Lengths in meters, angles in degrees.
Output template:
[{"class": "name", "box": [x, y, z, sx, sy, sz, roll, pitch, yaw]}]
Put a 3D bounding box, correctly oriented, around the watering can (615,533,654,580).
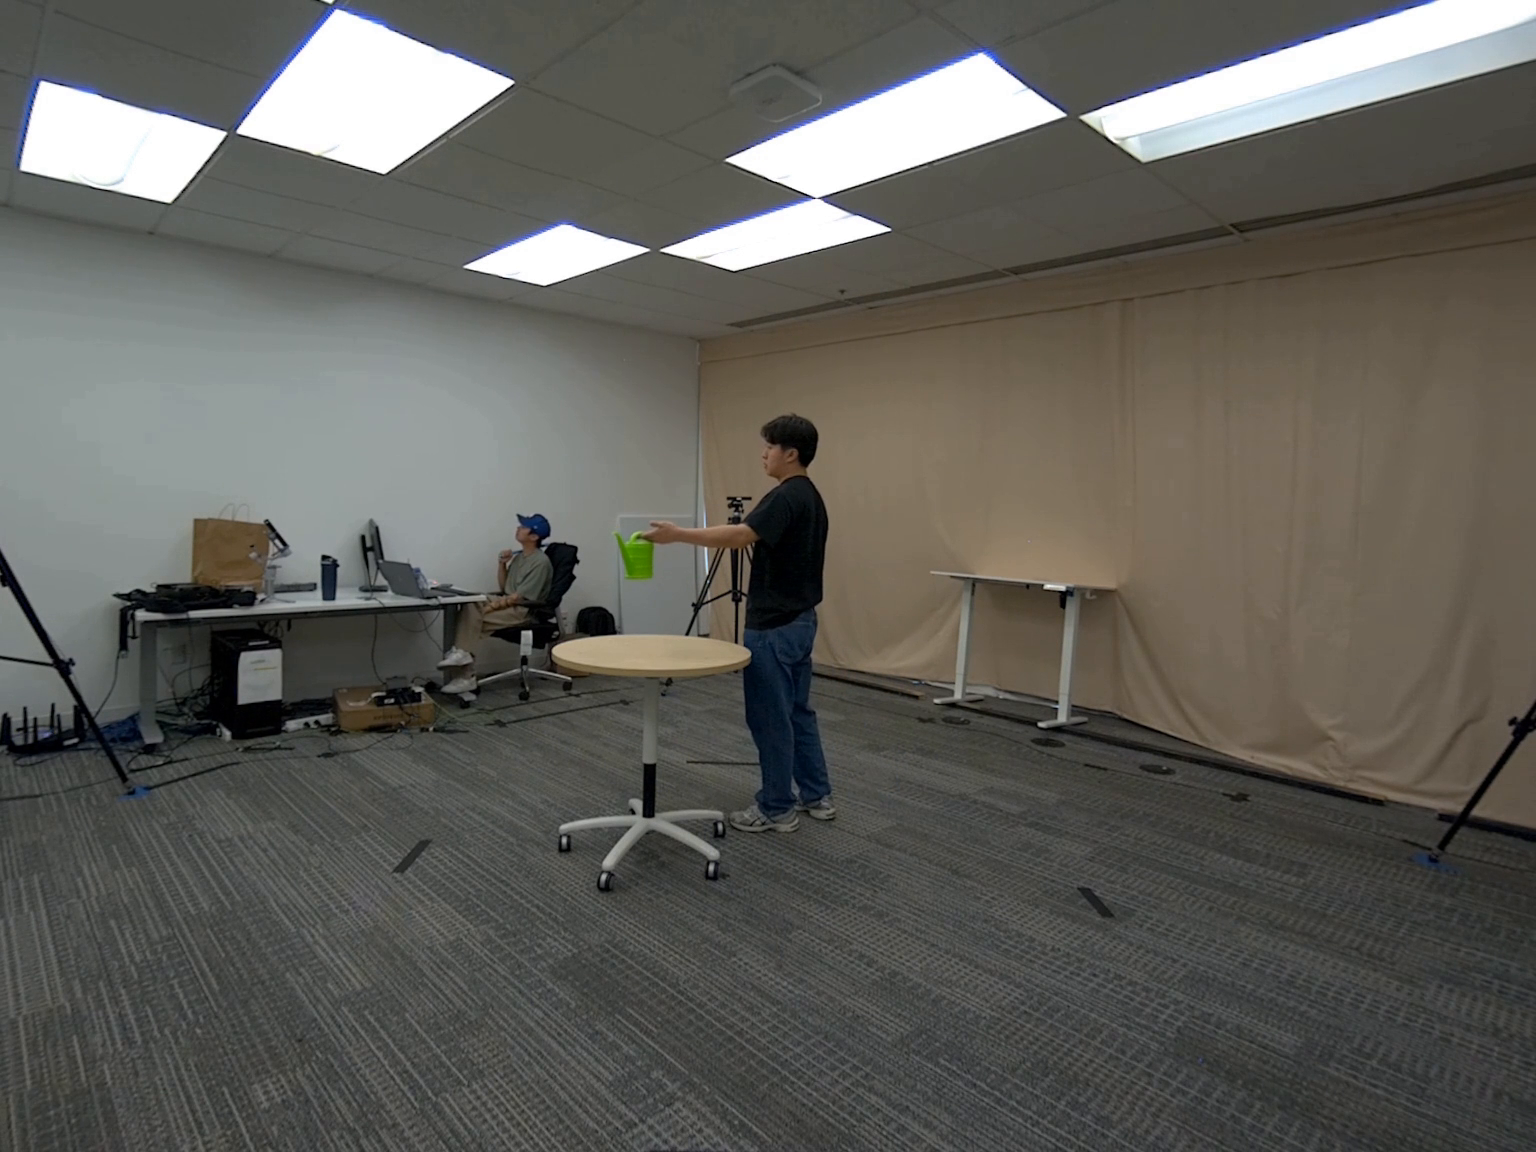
[{"class": "watering can", "box": [-0.505, -0.074, 3.105, 0.100, 0.176, 0.272, 4, 3, 31]}]
